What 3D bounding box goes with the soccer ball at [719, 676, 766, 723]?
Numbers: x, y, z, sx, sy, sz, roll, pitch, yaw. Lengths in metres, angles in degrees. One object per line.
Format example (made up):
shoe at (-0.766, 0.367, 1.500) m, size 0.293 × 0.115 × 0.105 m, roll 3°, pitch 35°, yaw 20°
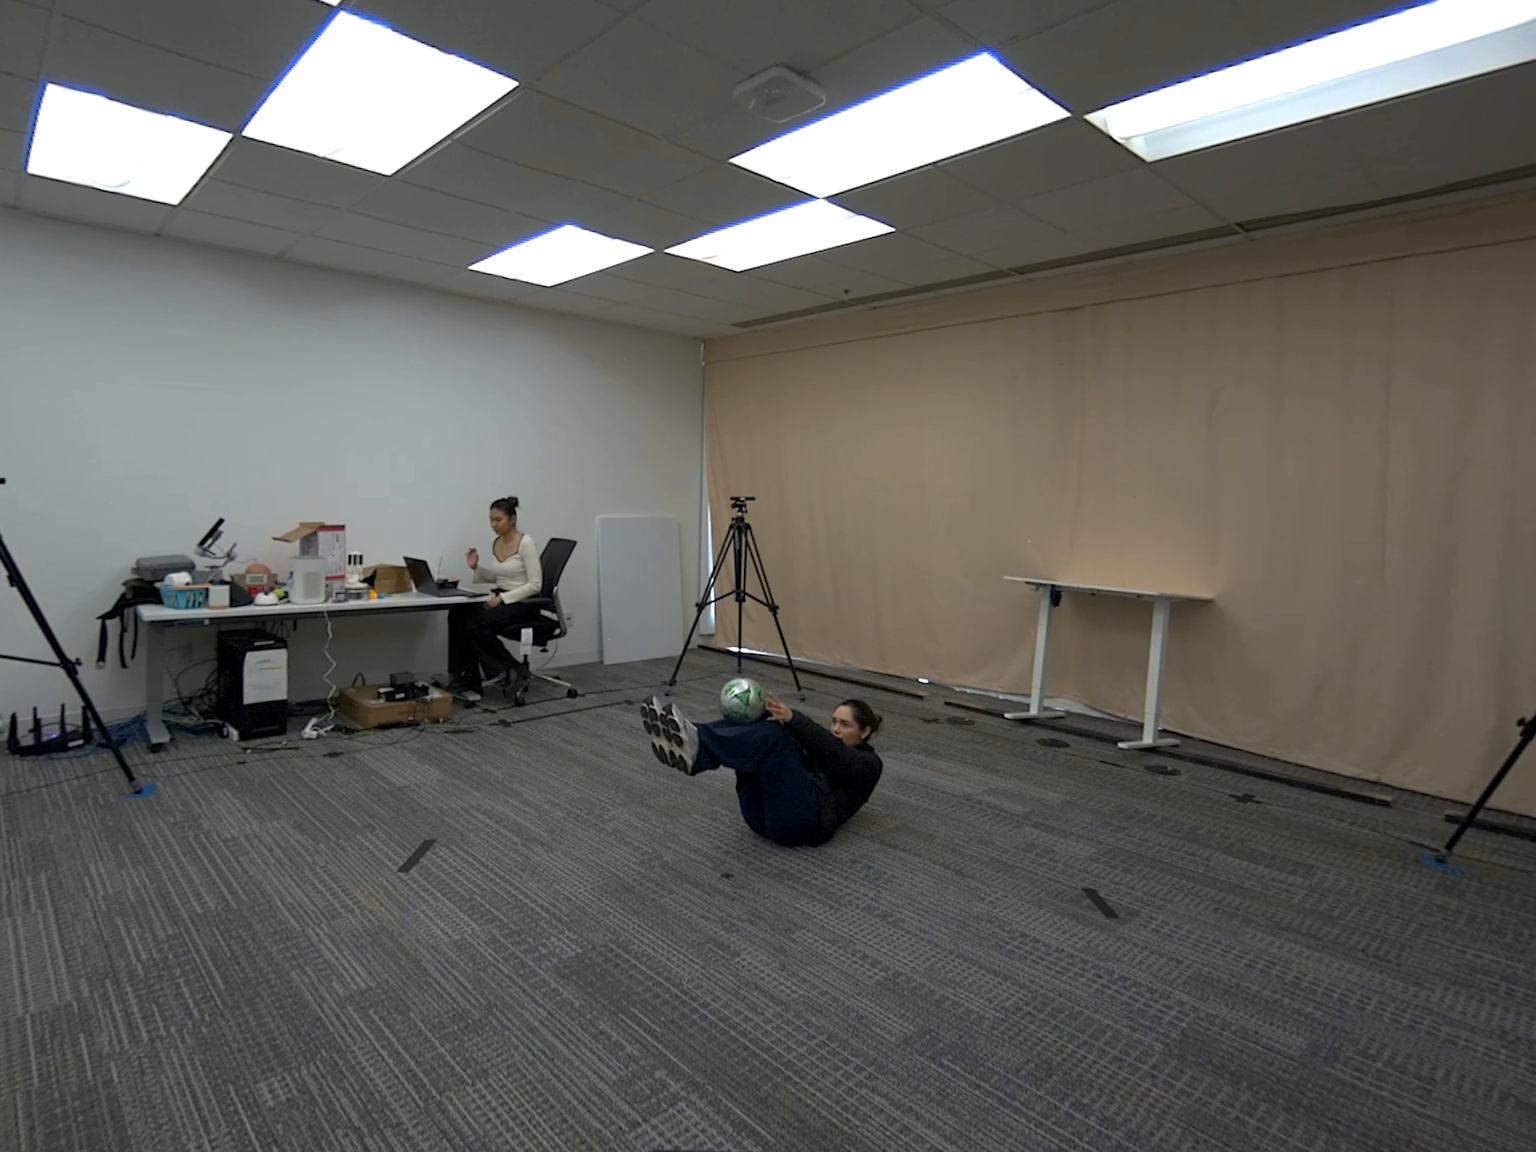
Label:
soccer ball at (-0.108, 0.491, 3.292) m, size 0.187 × 0.186 × 0.188 m, roll 0°, pitch 7°, yaw -1°
